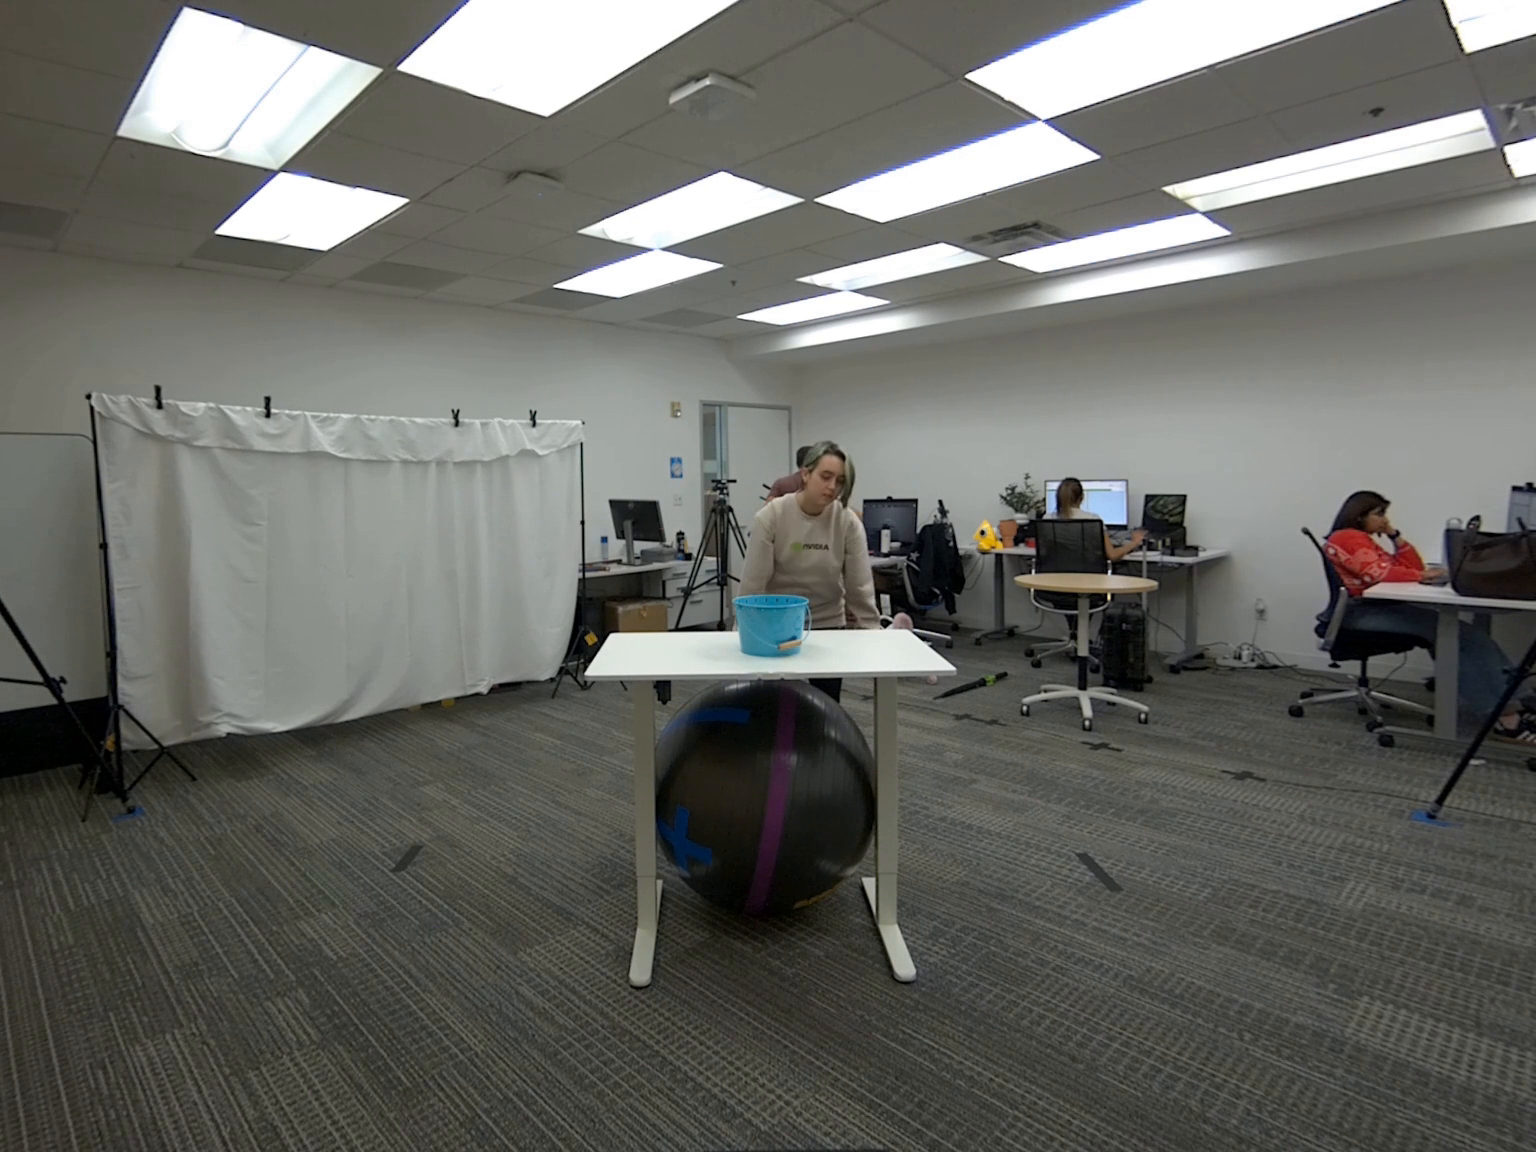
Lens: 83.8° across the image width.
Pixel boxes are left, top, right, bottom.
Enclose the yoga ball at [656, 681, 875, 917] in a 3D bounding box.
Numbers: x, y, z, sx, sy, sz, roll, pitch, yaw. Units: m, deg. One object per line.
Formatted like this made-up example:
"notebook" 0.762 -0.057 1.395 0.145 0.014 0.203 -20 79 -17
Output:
"yoga ball" -0.017 0.709 2.814 0.757 0.755 0.762 -1 5 -2
